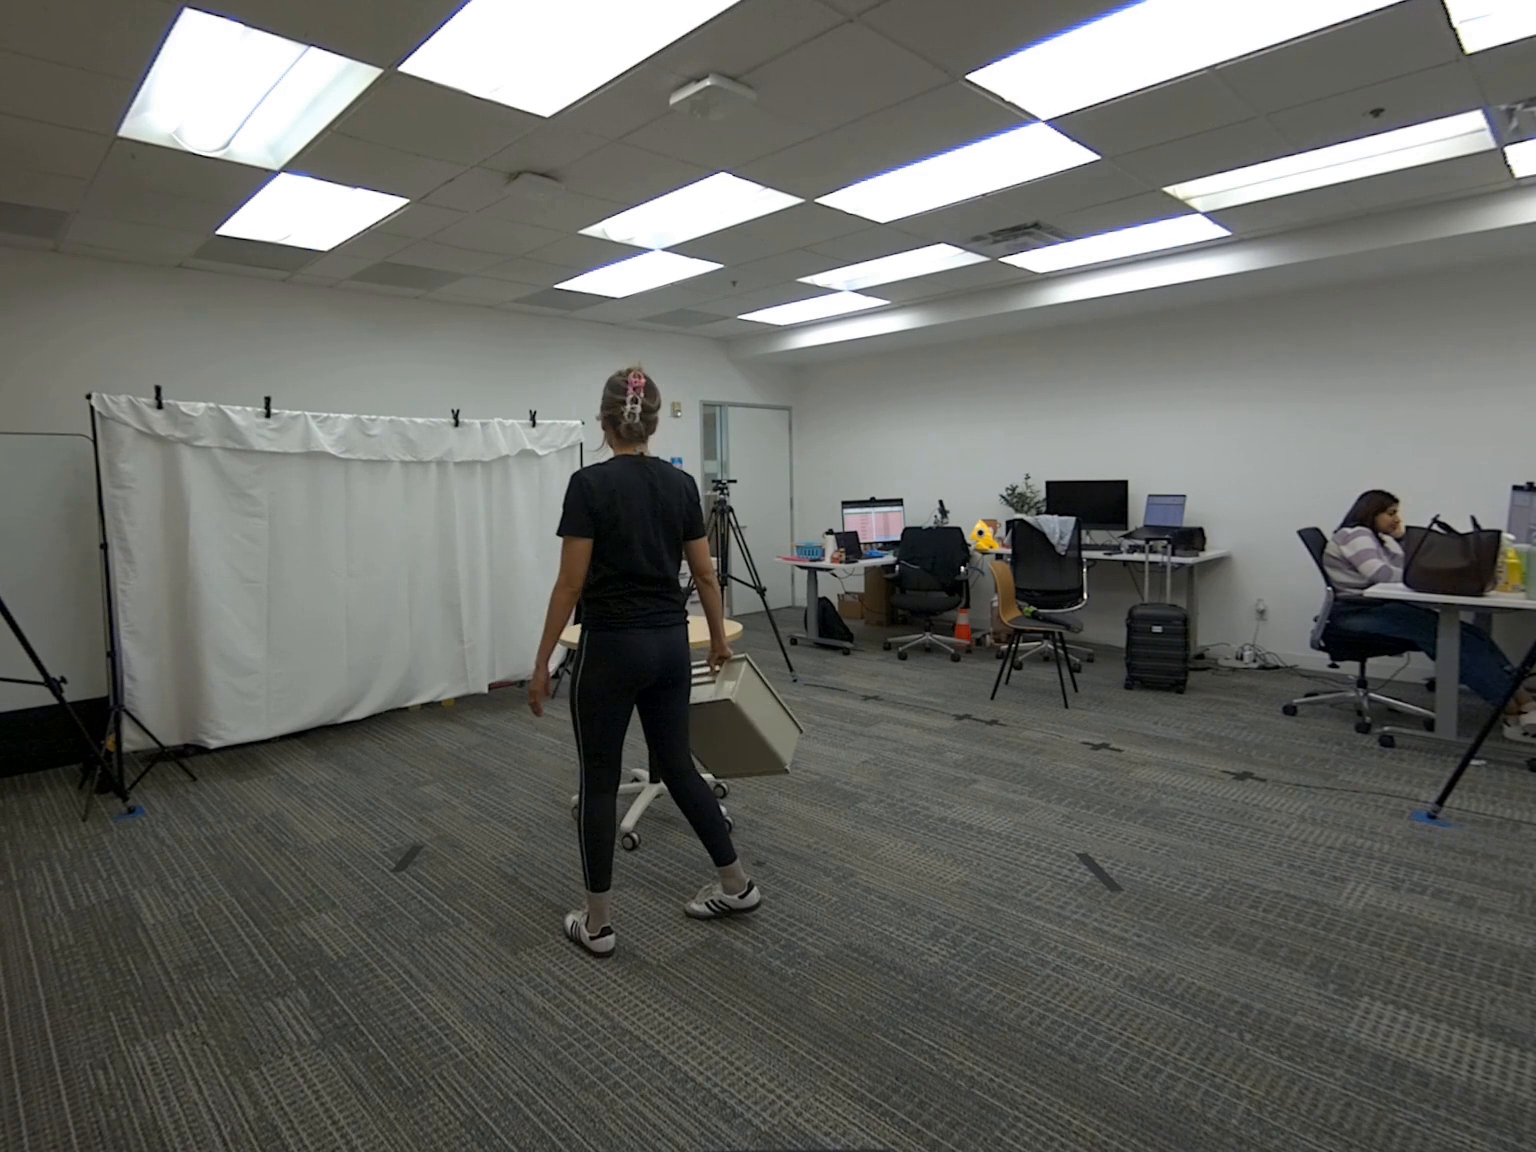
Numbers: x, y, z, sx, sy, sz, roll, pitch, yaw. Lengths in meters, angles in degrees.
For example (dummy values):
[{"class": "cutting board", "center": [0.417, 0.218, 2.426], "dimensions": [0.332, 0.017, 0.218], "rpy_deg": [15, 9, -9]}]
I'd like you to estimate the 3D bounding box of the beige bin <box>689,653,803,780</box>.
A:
[{"class": "beige bin", "center": [-0.145, 0.503, 2.942], "dimensions": [0.385, 0.408, 0.191], "rpy_deg": [-13, 36, 32]}]
